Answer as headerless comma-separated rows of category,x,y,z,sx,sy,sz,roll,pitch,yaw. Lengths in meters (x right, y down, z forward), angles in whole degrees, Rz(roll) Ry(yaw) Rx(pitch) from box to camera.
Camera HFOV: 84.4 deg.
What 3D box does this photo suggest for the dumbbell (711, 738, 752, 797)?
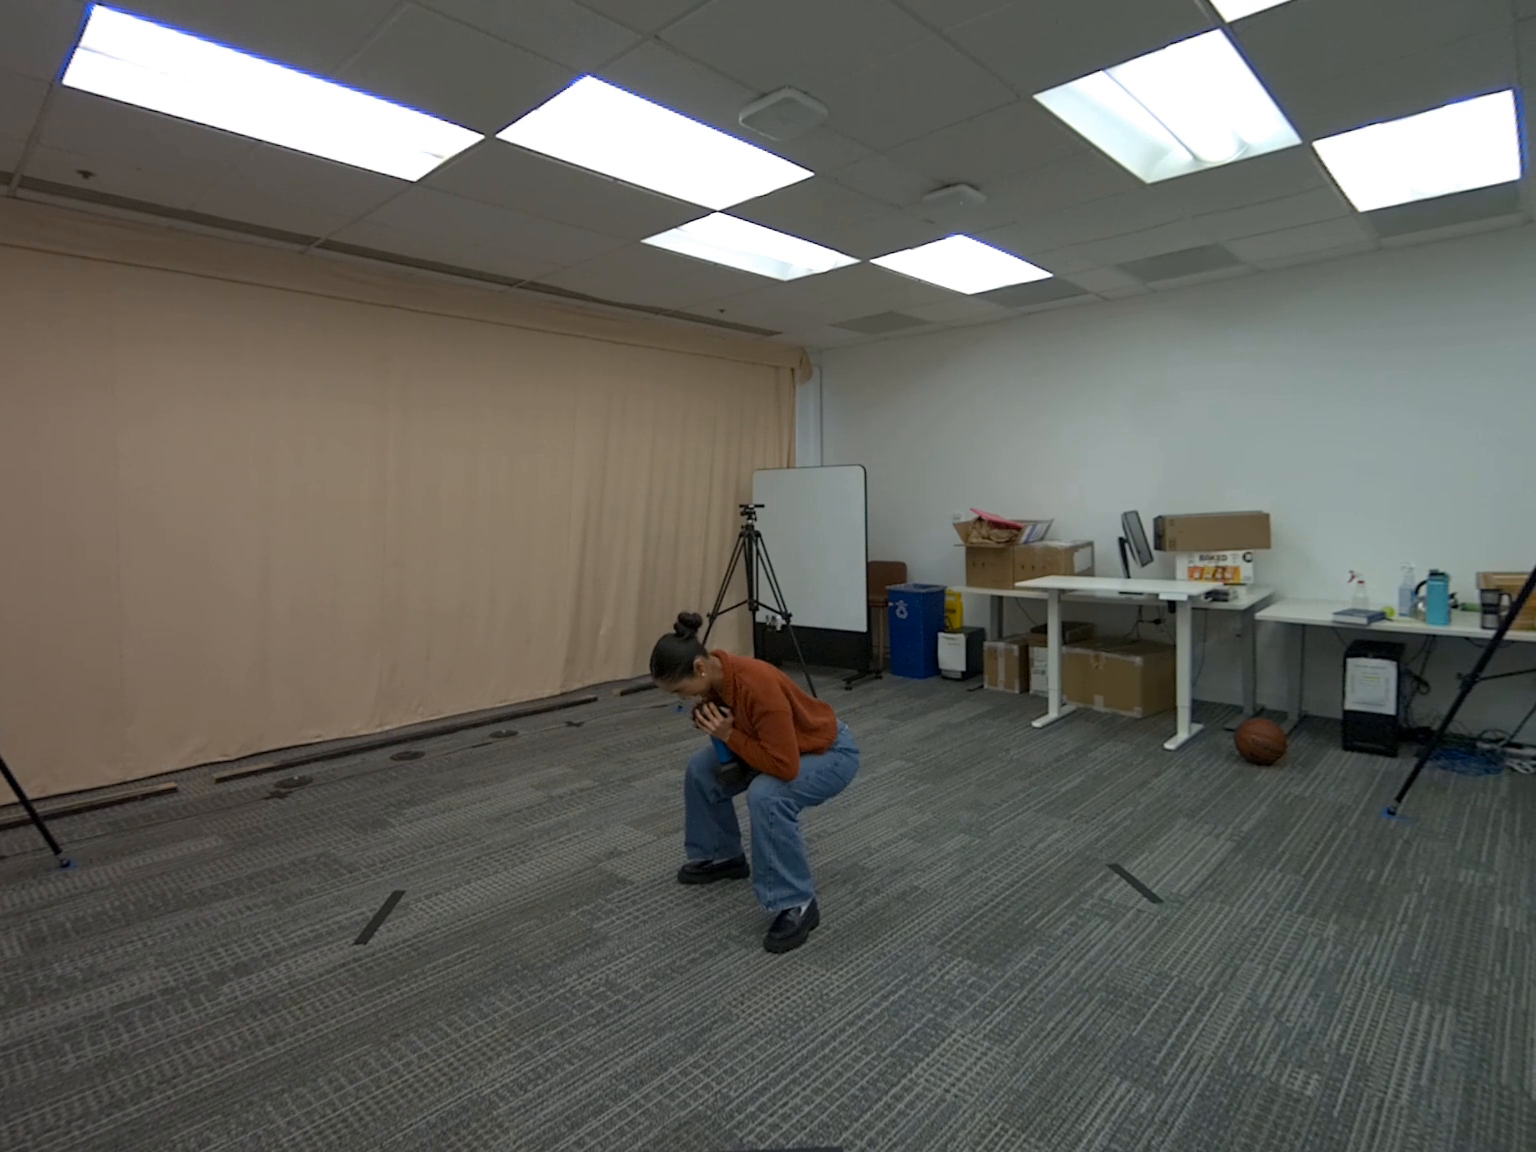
dumbbell,-0.156,0.553,2.870,0.107,0.291,0.126,-27,9,-31
